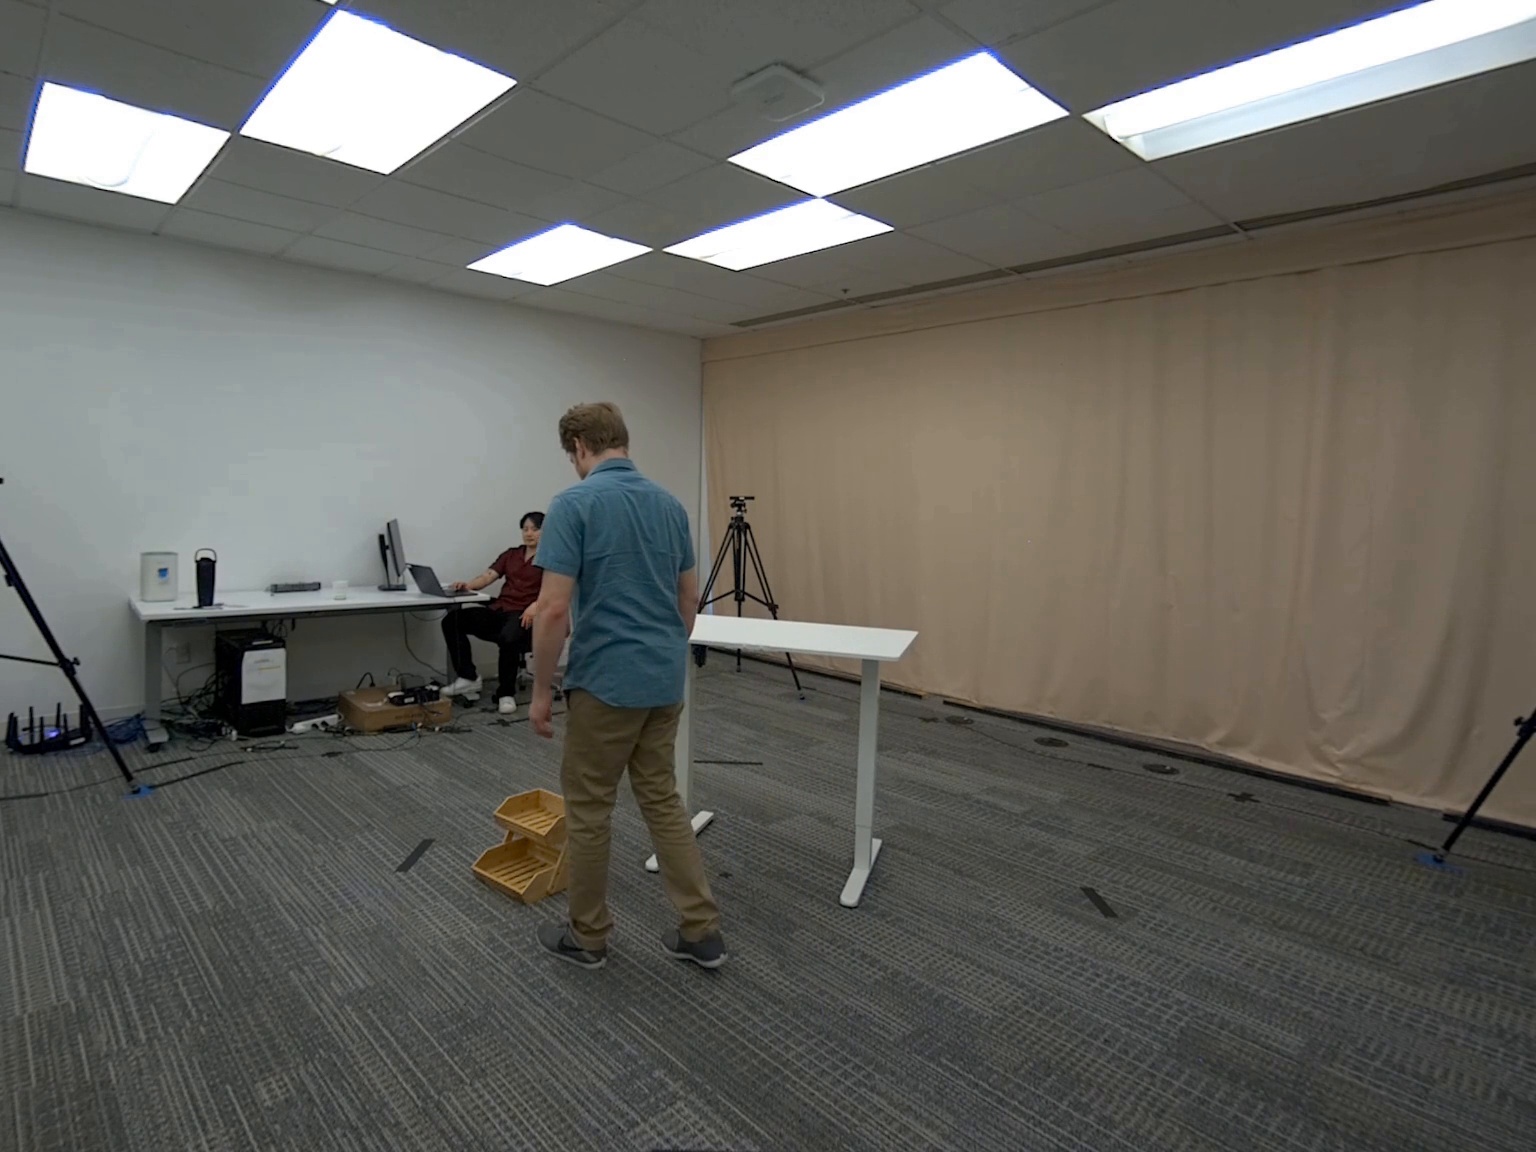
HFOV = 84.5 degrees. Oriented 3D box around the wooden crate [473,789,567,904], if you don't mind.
[{"bbox_3d":[-0.863,0.964,3.029,0.332,0.272,0.295,5,5,38],"label":"wooden crate"}]
